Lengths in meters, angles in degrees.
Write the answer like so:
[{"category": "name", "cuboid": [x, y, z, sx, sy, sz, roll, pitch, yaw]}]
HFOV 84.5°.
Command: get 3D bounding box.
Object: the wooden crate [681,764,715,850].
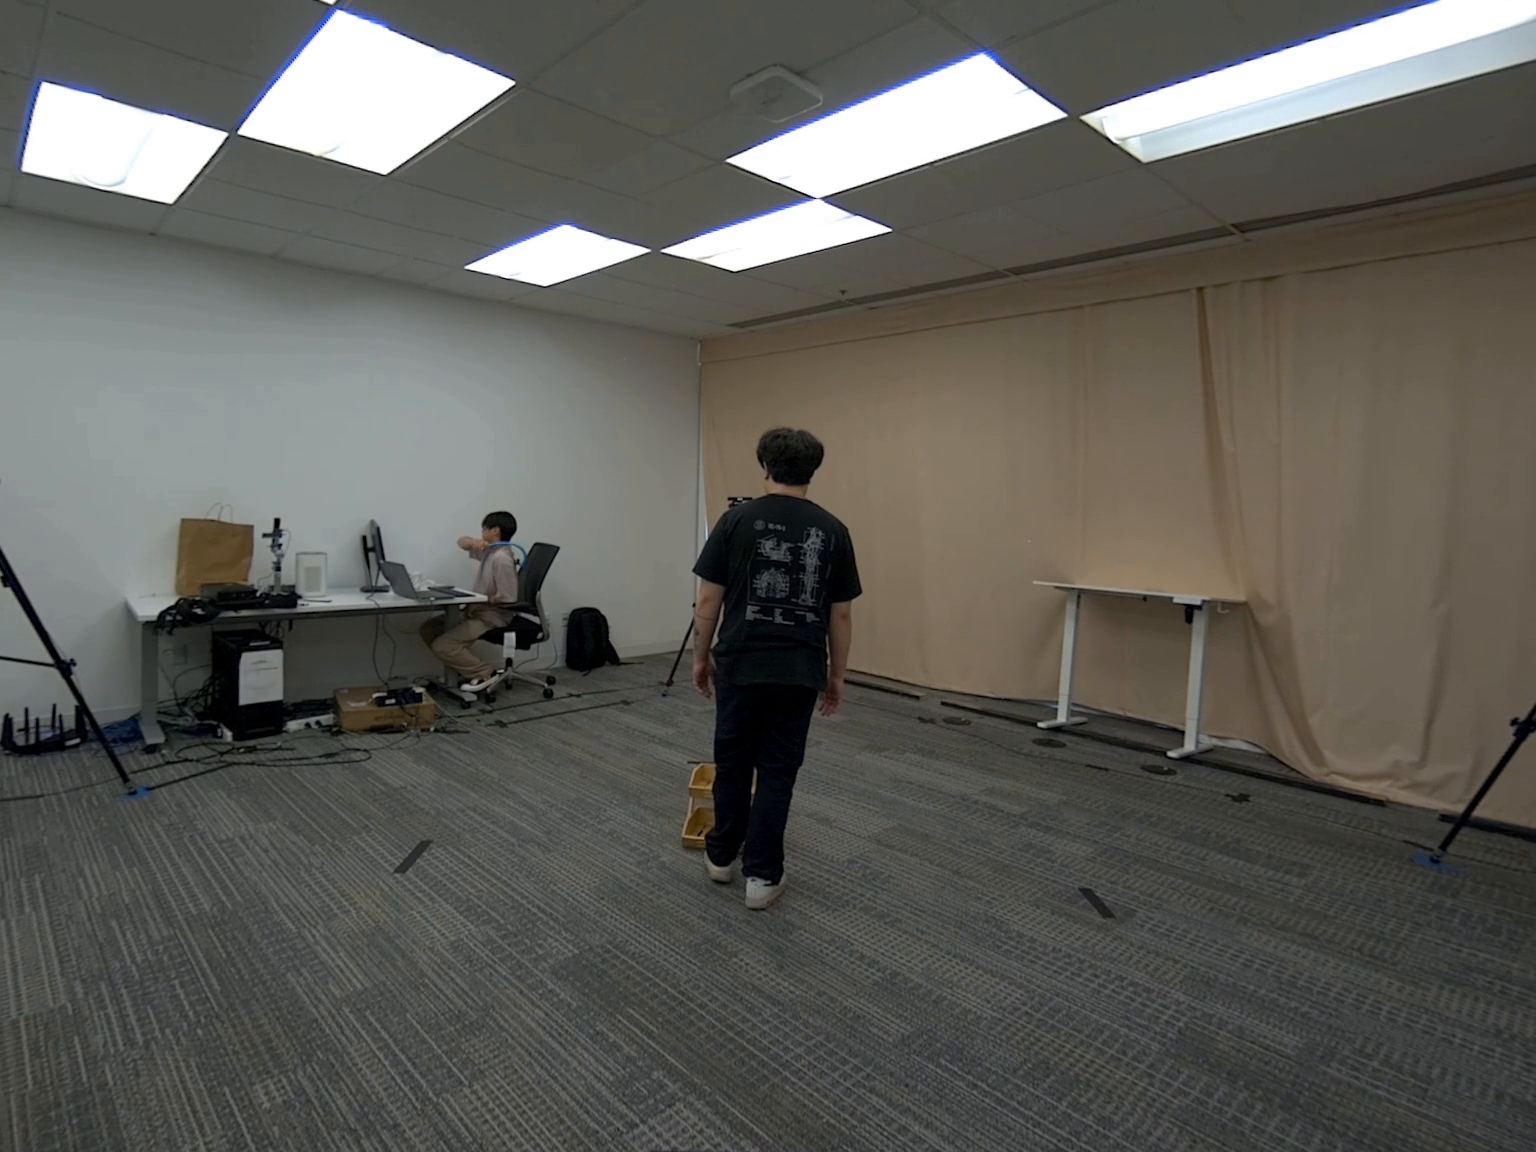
[{"category": "wooden crate", "cuboid": [-0.172, 0.944, 3.430, 0.327, 0.273, 0.299, 2, 1, 10]}]
